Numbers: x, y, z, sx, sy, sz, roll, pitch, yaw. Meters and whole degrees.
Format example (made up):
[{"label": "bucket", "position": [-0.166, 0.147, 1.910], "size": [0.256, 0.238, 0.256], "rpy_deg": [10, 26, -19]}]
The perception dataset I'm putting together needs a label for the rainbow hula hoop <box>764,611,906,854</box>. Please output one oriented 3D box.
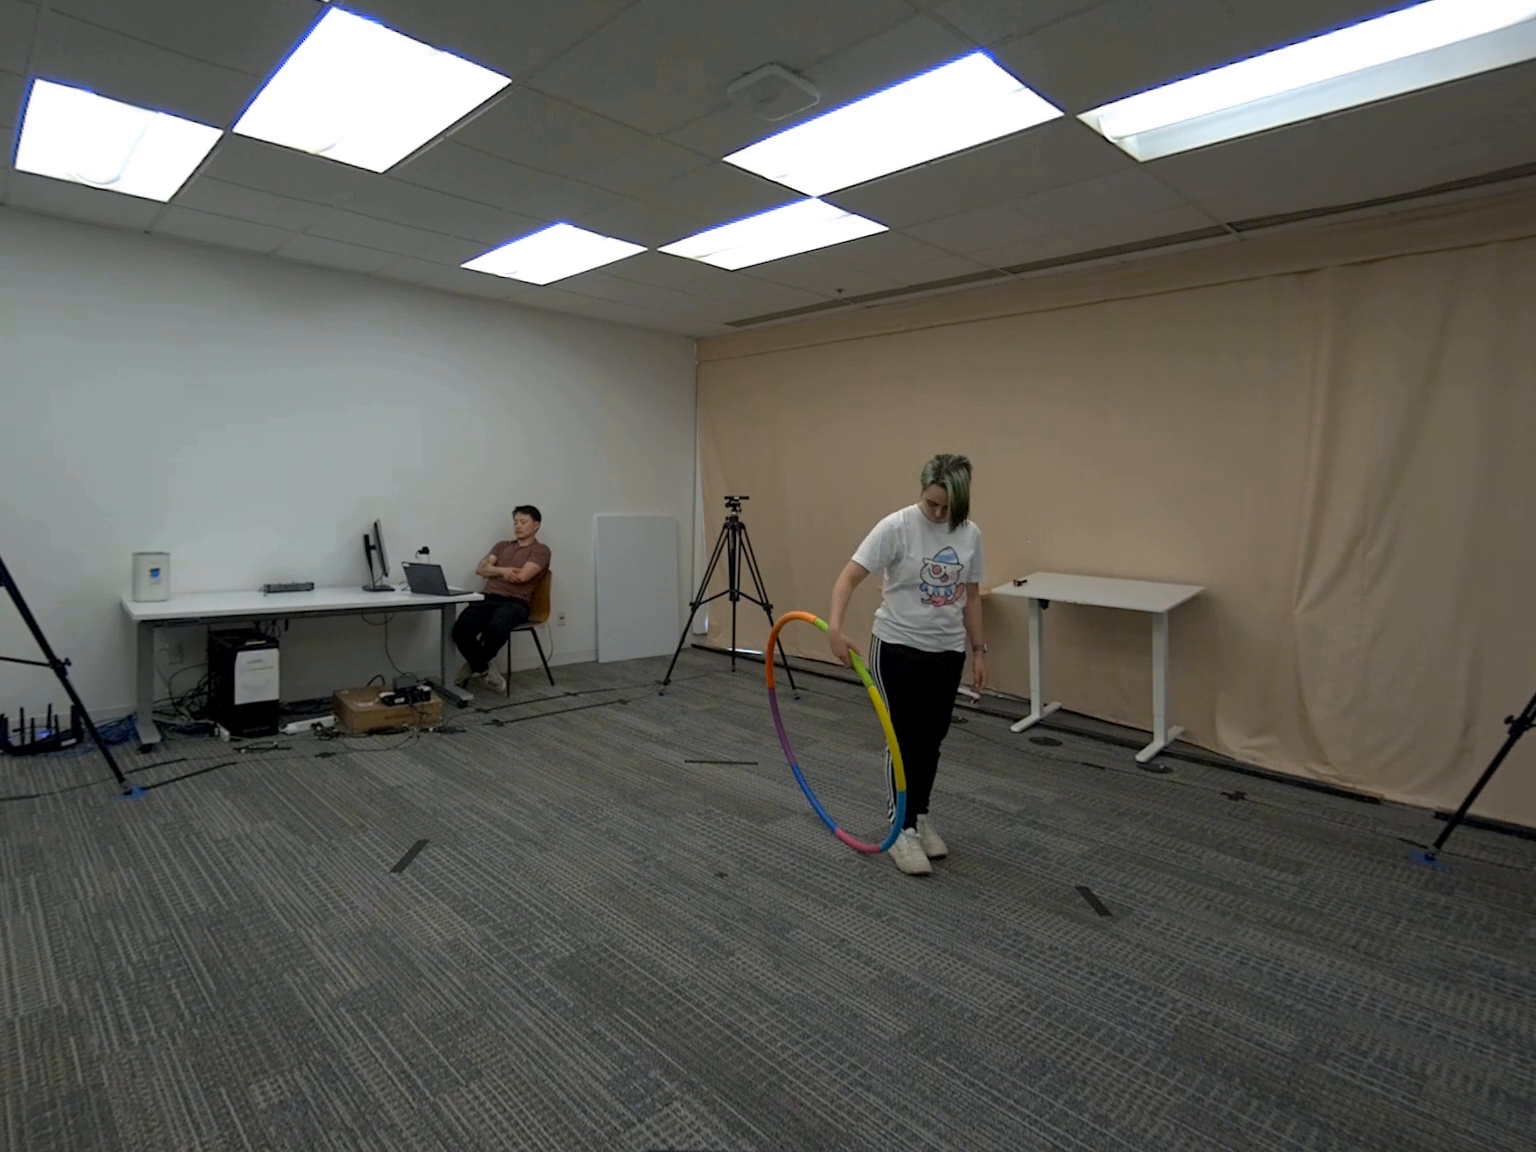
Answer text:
[{"label": "rainbow hula hoop", "position": [0.230, 0.622, 3.360], "size": [0.035, 0.971, 0.999], "rpy_deg": [-15, 11, -24]}]
